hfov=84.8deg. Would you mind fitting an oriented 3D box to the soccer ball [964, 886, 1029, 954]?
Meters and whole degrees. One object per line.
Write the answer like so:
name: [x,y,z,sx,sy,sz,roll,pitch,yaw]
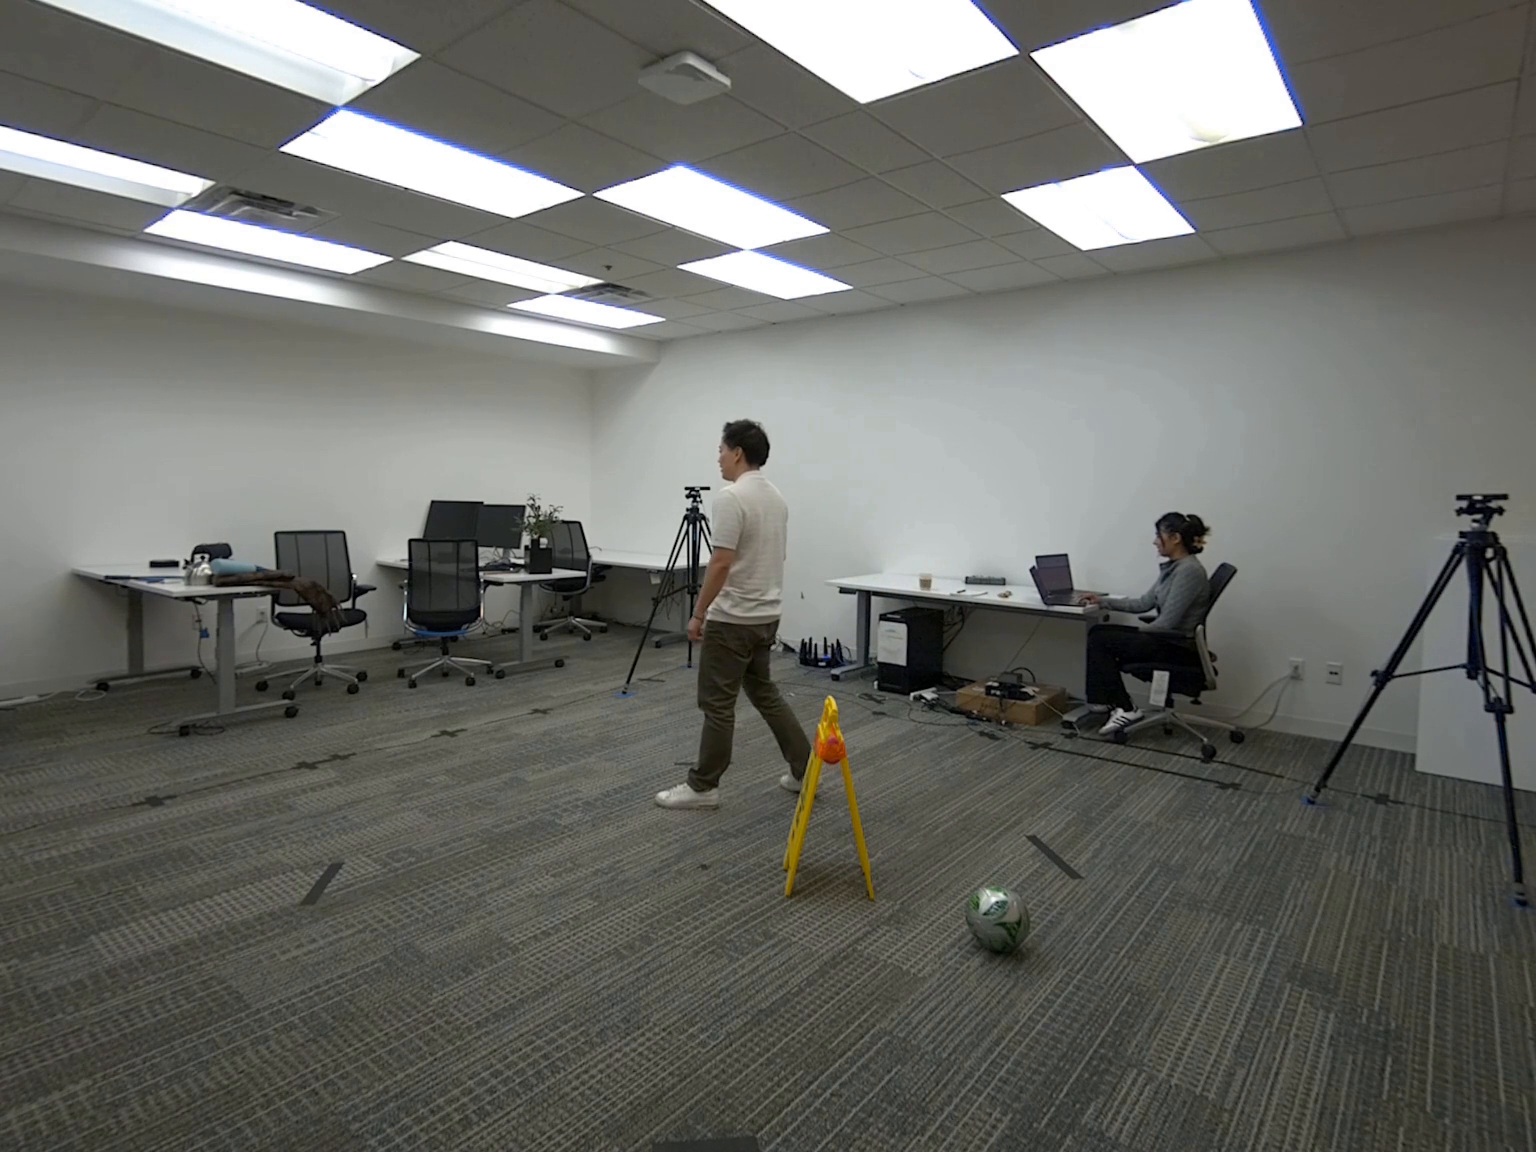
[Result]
soccer ball: [0.694,1.045,2.610,0.187,0.187,0.188,0,4,-2]
